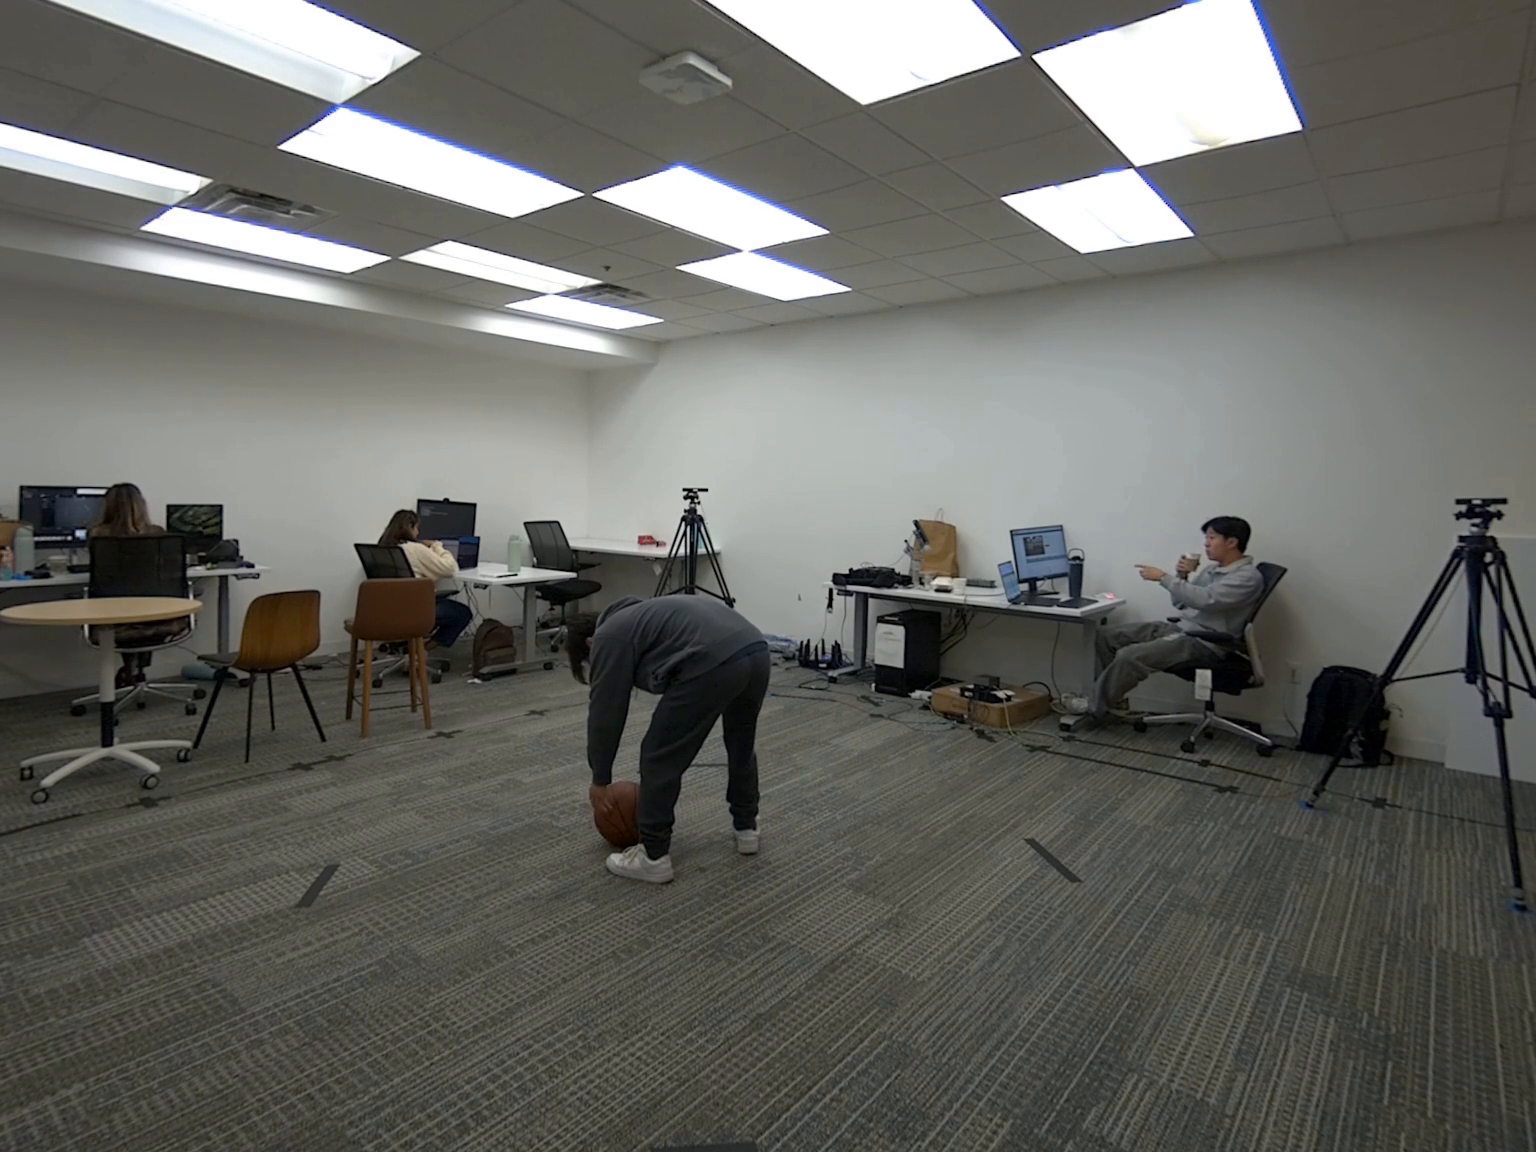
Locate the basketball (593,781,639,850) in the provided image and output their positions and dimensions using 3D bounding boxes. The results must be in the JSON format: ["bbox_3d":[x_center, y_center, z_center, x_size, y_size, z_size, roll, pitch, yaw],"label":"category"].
[{"bbox_3d":[-0.576,0.918,3.326,0.235,0.235,0.237,1,4,-2],"label":"basketball"}]
